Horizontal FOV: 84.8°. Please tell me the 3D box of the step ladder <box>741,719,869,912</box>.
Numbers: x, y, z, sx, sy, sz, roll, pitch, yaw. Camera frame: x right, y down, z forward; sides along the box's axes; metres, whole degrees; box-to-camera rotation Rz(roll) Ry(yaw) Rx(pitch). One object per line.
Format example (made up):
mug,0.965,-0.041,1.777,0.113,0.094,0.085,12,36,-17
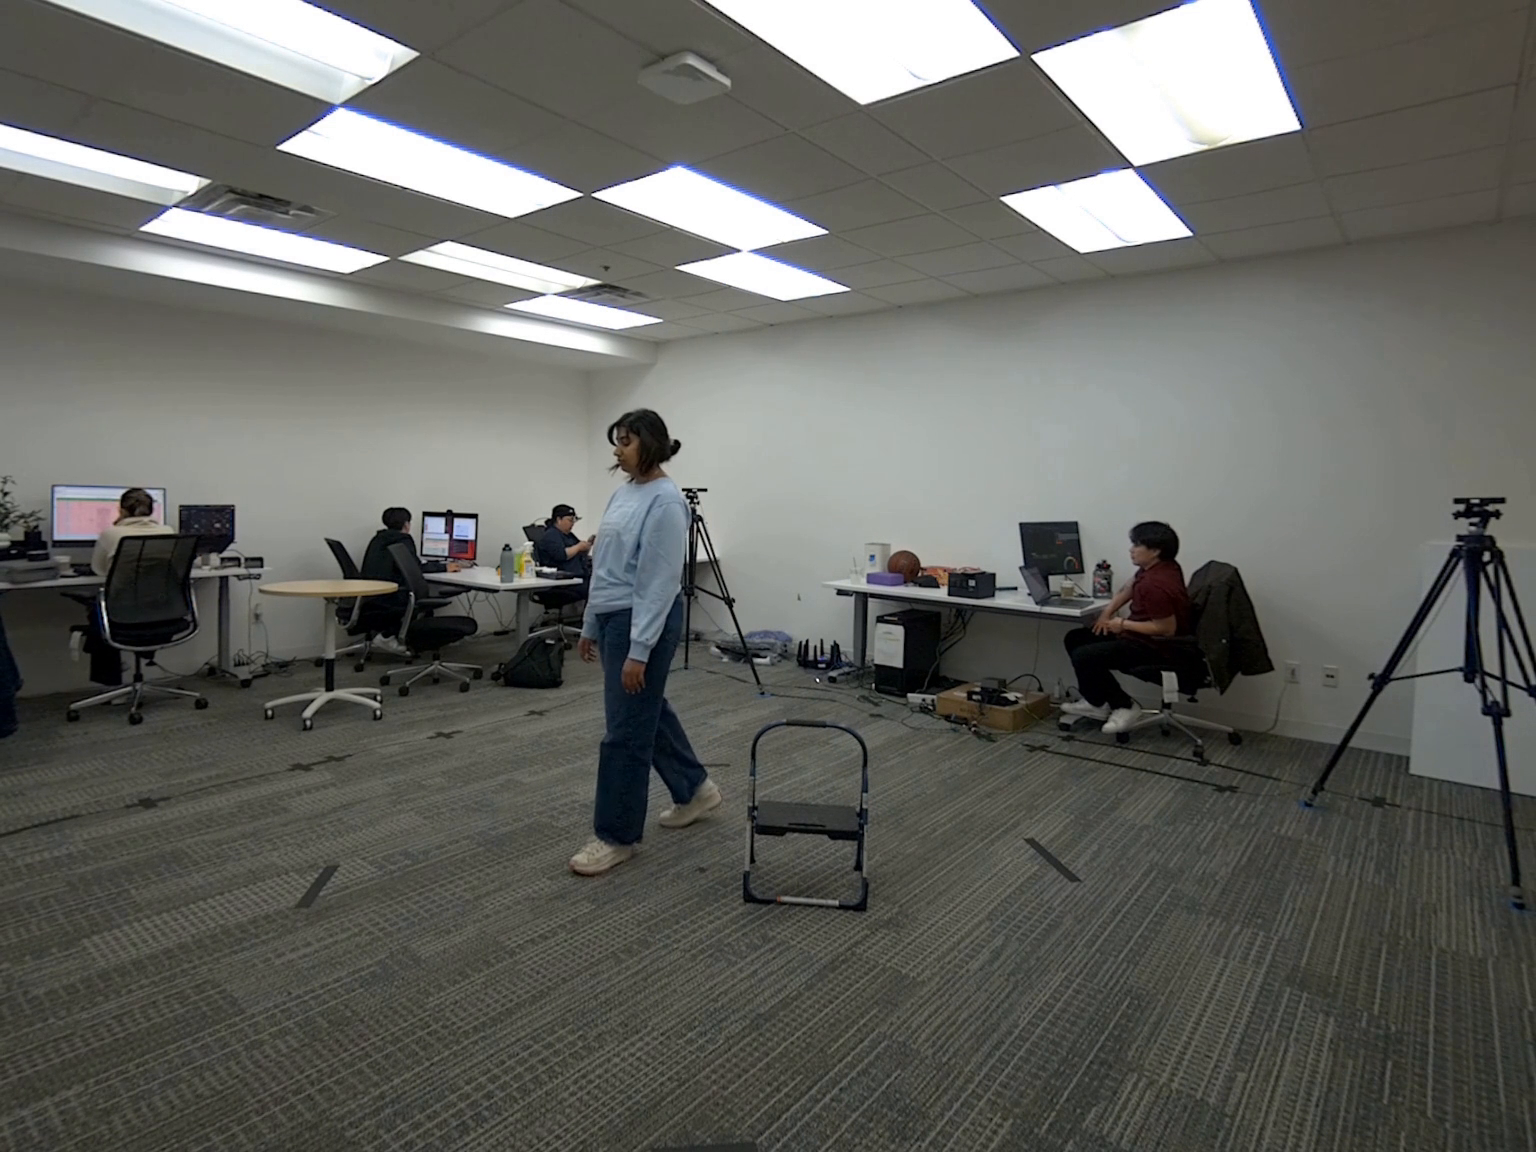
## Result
step ladder,0.131,0.785,2.990,0.433,0.604,0.348,2,3,4
